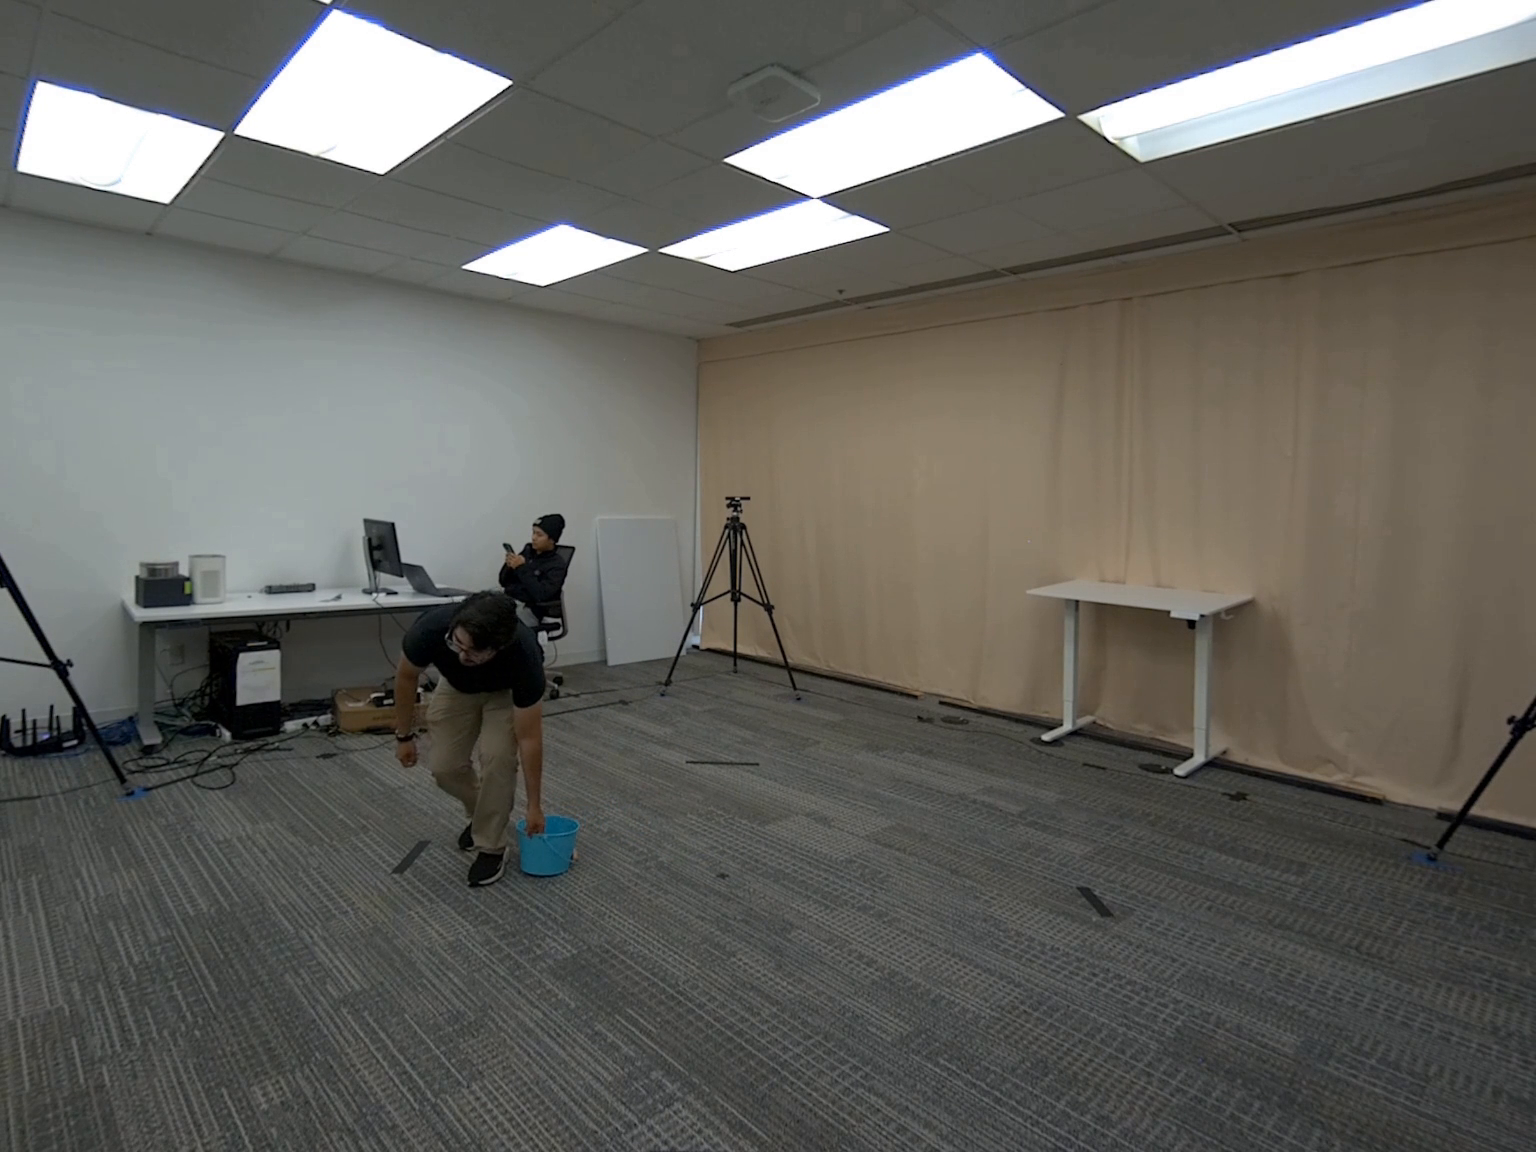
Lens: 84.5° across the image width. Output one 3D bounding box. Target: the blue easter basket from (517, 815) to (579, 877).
[{"bbox_3d":[-0.833,1.007,3.132,0.243,0.156,0.244,4,1,-1],"label":"blue easter basket"}]
